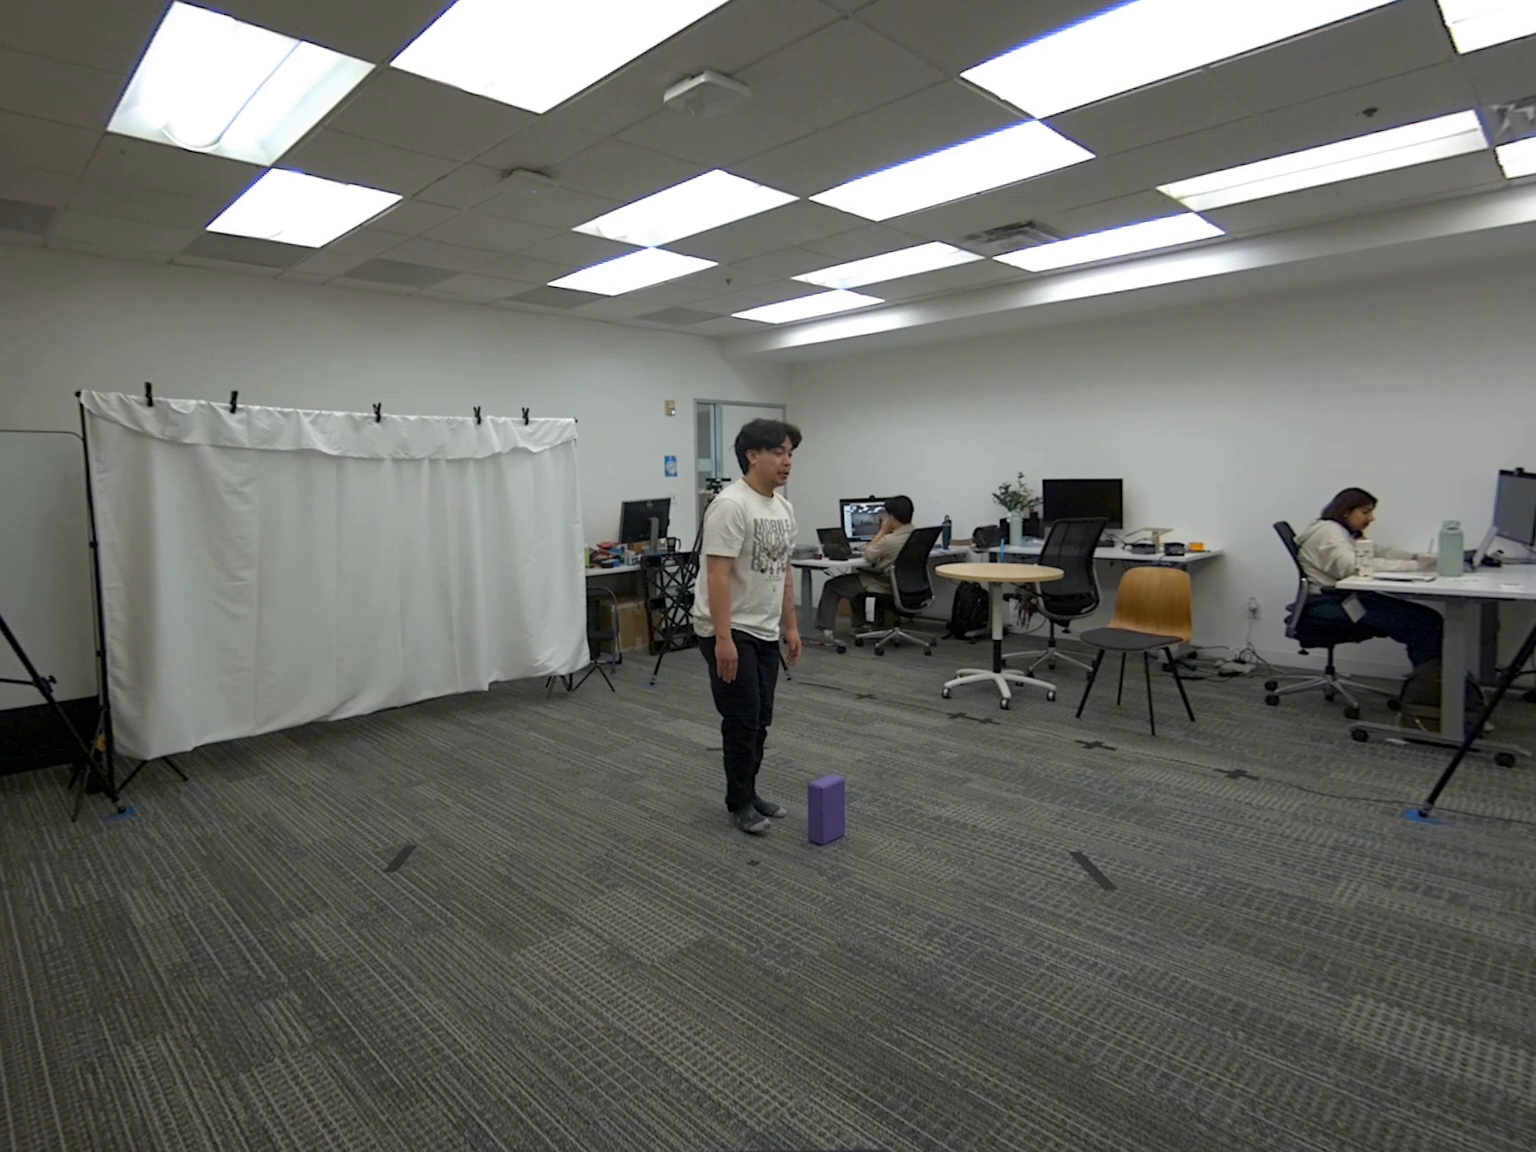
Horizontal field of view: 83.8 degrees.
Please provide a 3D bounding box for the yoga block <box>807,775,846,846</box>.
[{"bbox_3d":[0.231,0.902,3.301,0.079,0.229,0.145,3,5,45],"label":"yoga block"}]
